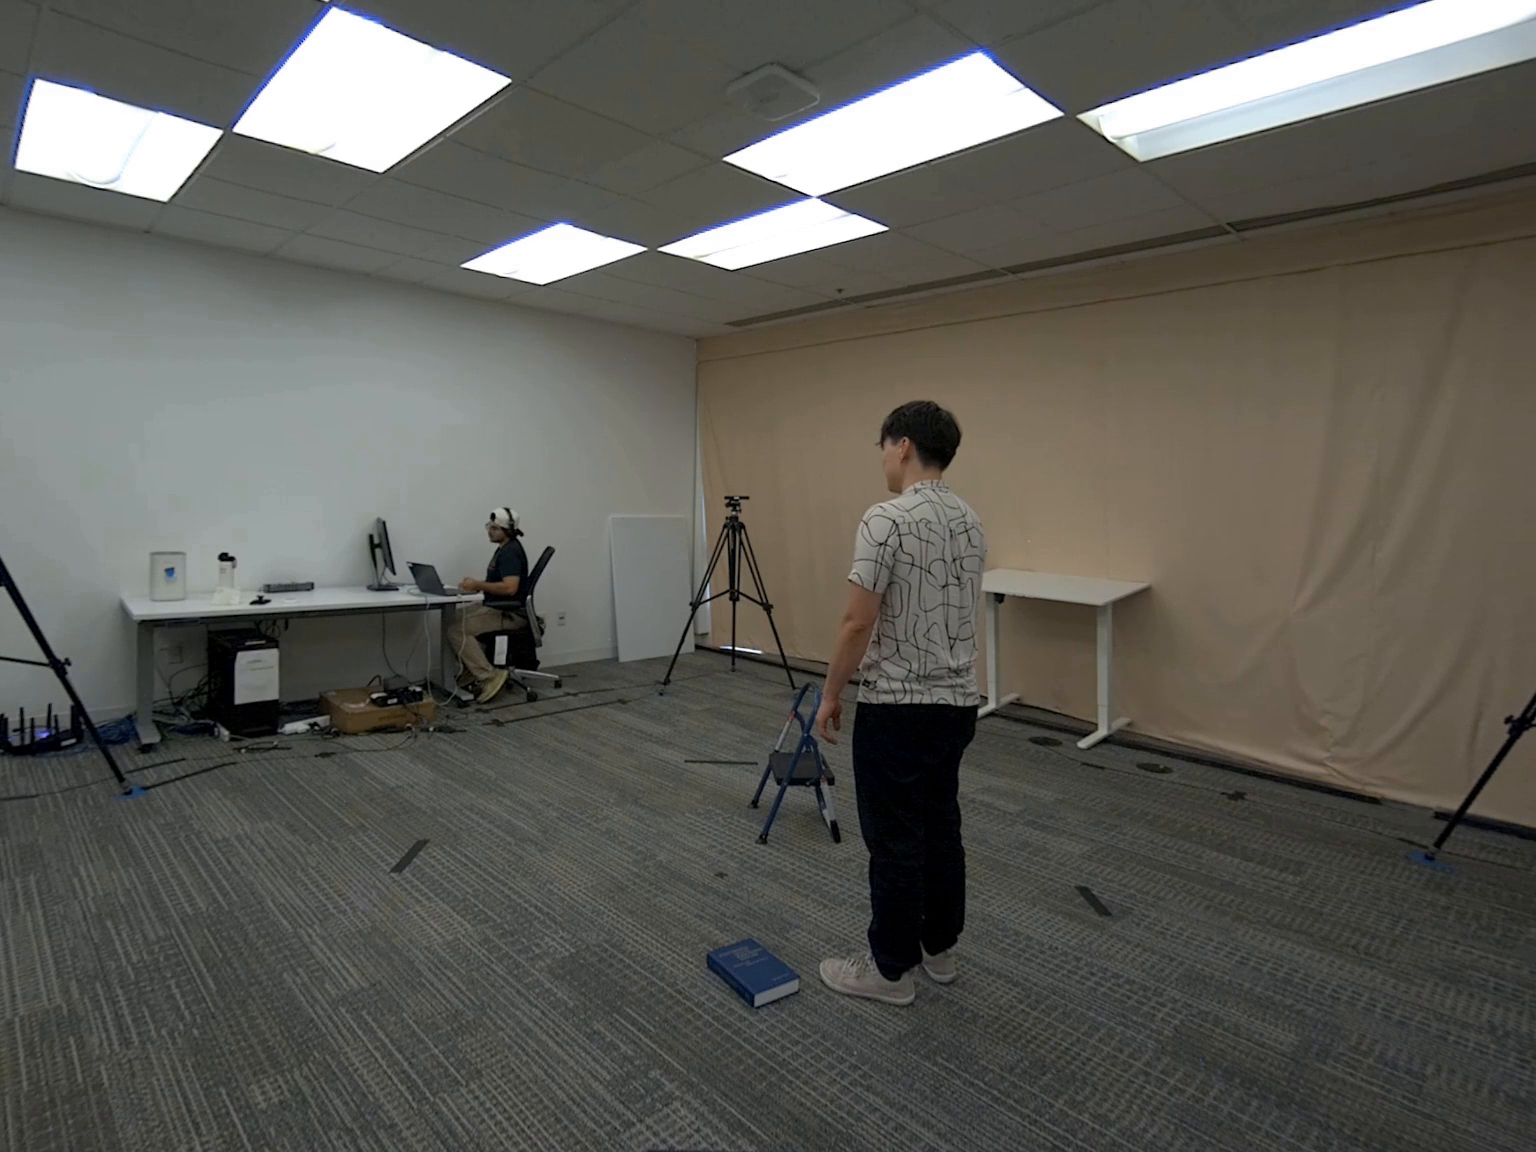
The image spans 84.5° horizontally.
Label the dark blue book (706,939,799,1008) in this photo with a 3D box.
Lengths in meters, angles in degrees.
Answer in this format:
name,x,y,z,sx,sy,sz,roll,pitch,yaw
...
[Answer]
name,x,y,z,sx,sy,sz,roll,pitch,yaw
dark blue book,-0.047,1.145,2.434,0.160,0.045,0.251,-2,6,-36
